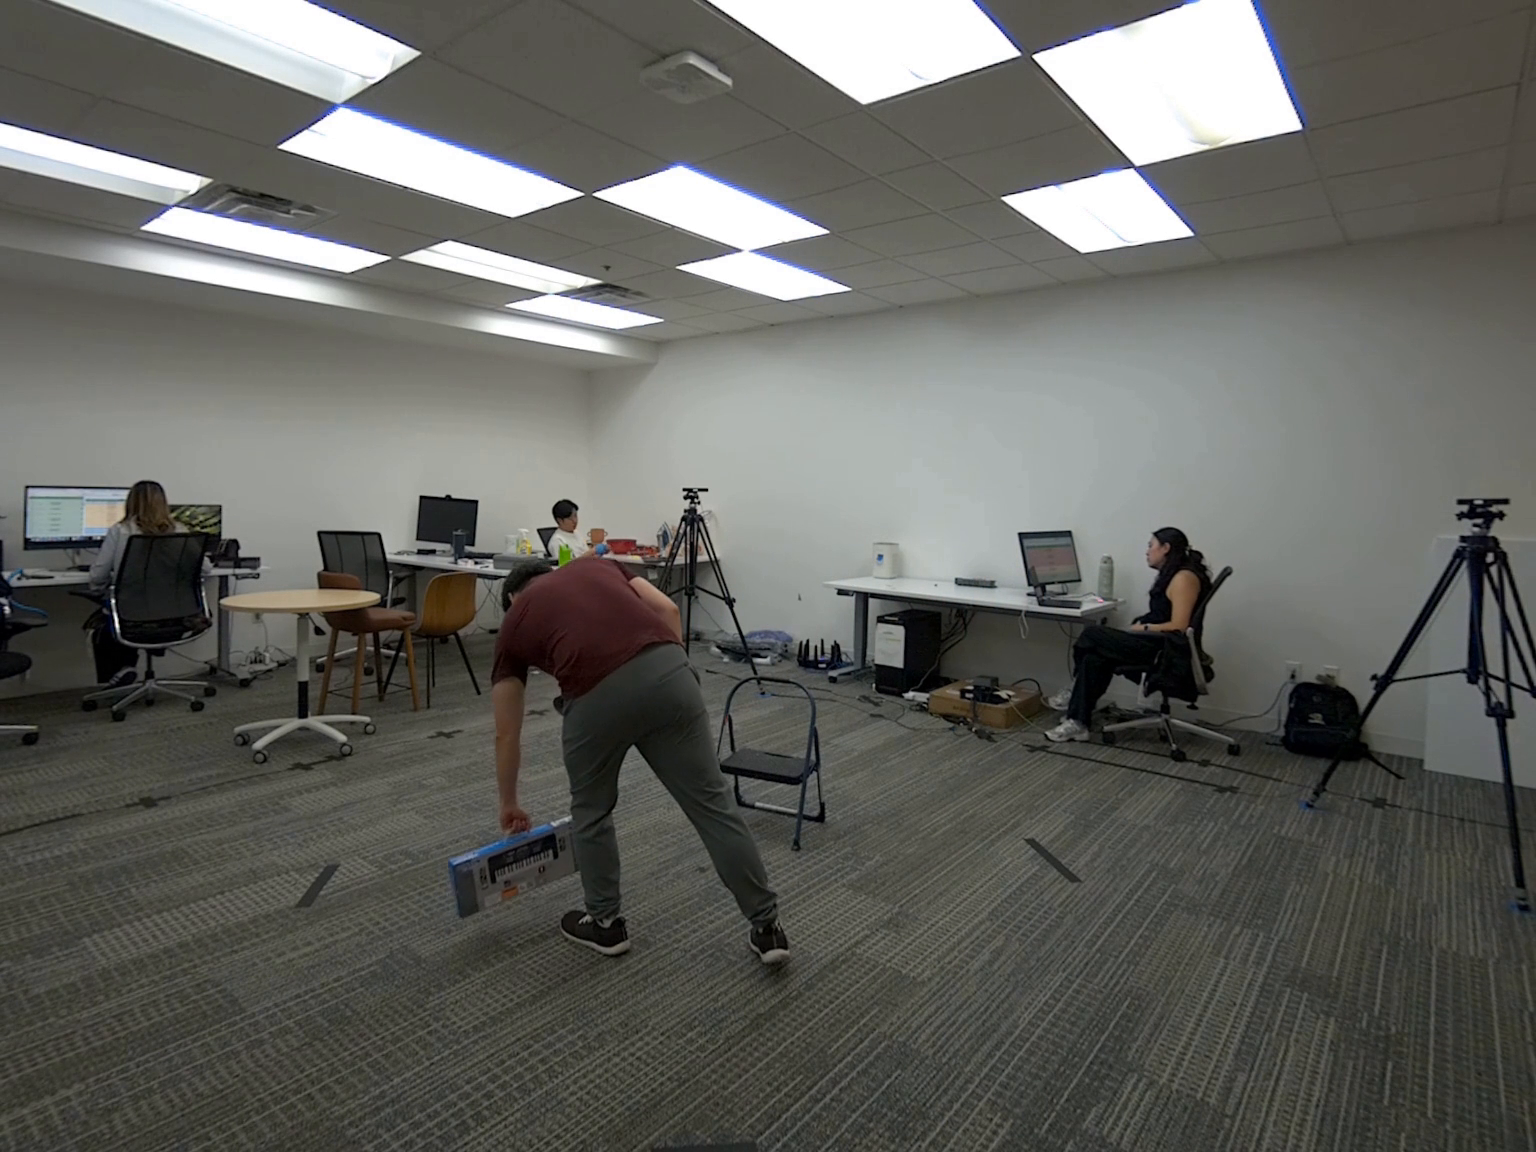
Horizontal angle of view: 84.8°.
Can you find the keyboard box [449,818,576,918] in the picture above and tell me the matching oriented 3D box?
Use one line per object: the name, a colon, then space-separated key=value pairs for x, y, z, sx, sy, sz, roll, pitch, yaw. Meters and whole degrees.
keyboard box: x=-0.793 y=0.907 z=2.702 sx=0.426 sy=0.175 sz=0.061 roll=-12 pitch=6 yaw=-35
